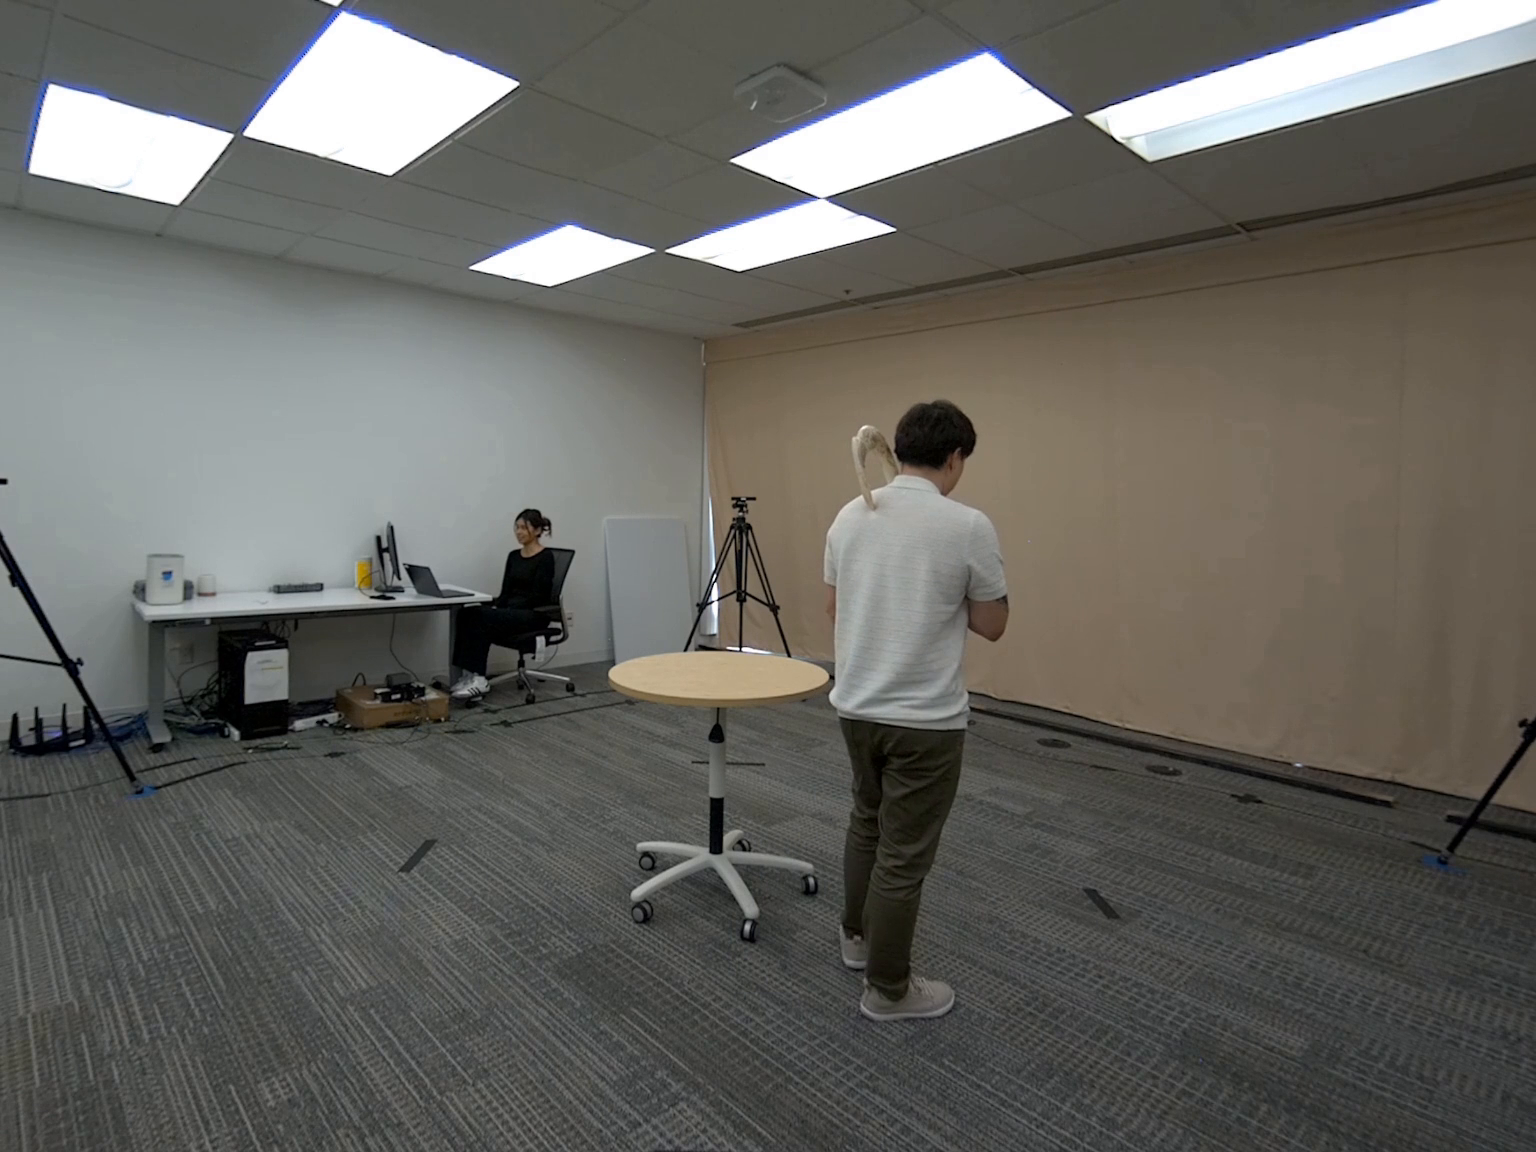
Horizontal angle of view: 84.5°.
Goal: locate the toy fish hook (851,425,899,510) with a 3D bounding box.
[{"bbox_3d":[0.350,-0.174,2.343,0.049,0.498,0.224,-12,23,38],"label":"toy fish hook"}]
